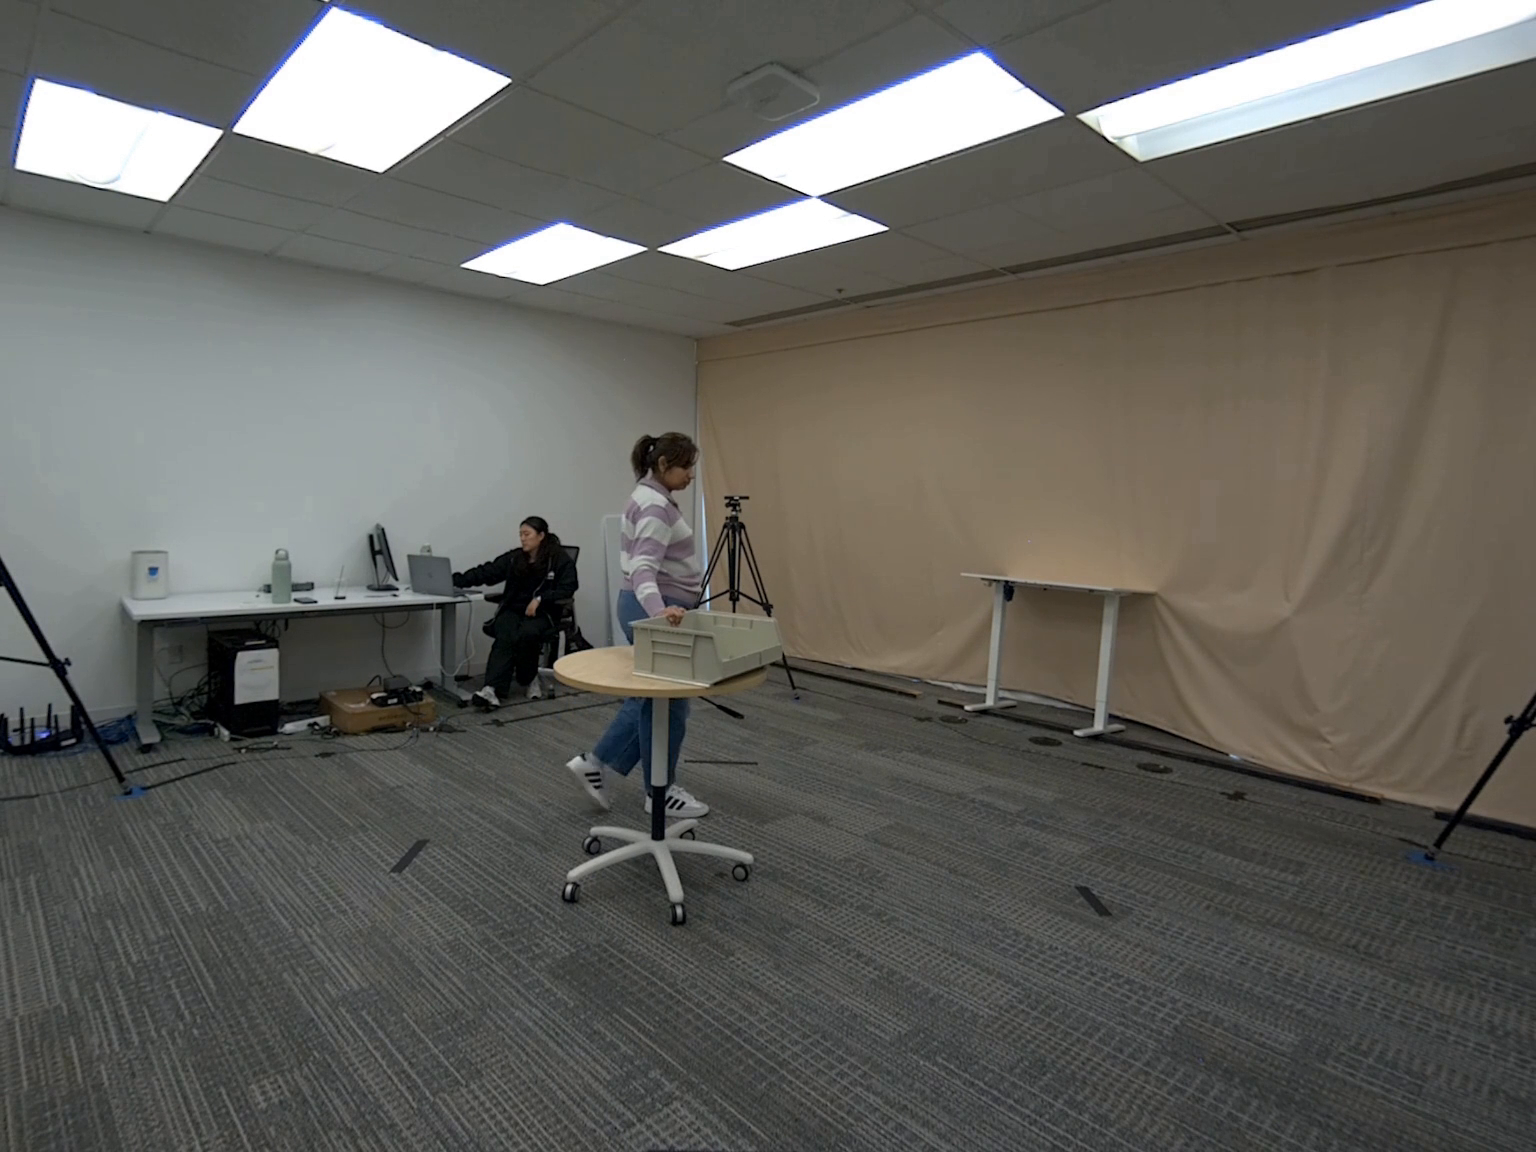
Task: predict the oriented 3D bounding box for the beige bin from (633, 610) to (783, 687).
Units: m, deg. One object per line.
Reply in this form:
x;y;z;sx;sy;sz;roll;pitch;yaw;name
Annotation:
-0.214;0.251;2.931;0.385;0.188;0.415;3;6;28;beige bin
